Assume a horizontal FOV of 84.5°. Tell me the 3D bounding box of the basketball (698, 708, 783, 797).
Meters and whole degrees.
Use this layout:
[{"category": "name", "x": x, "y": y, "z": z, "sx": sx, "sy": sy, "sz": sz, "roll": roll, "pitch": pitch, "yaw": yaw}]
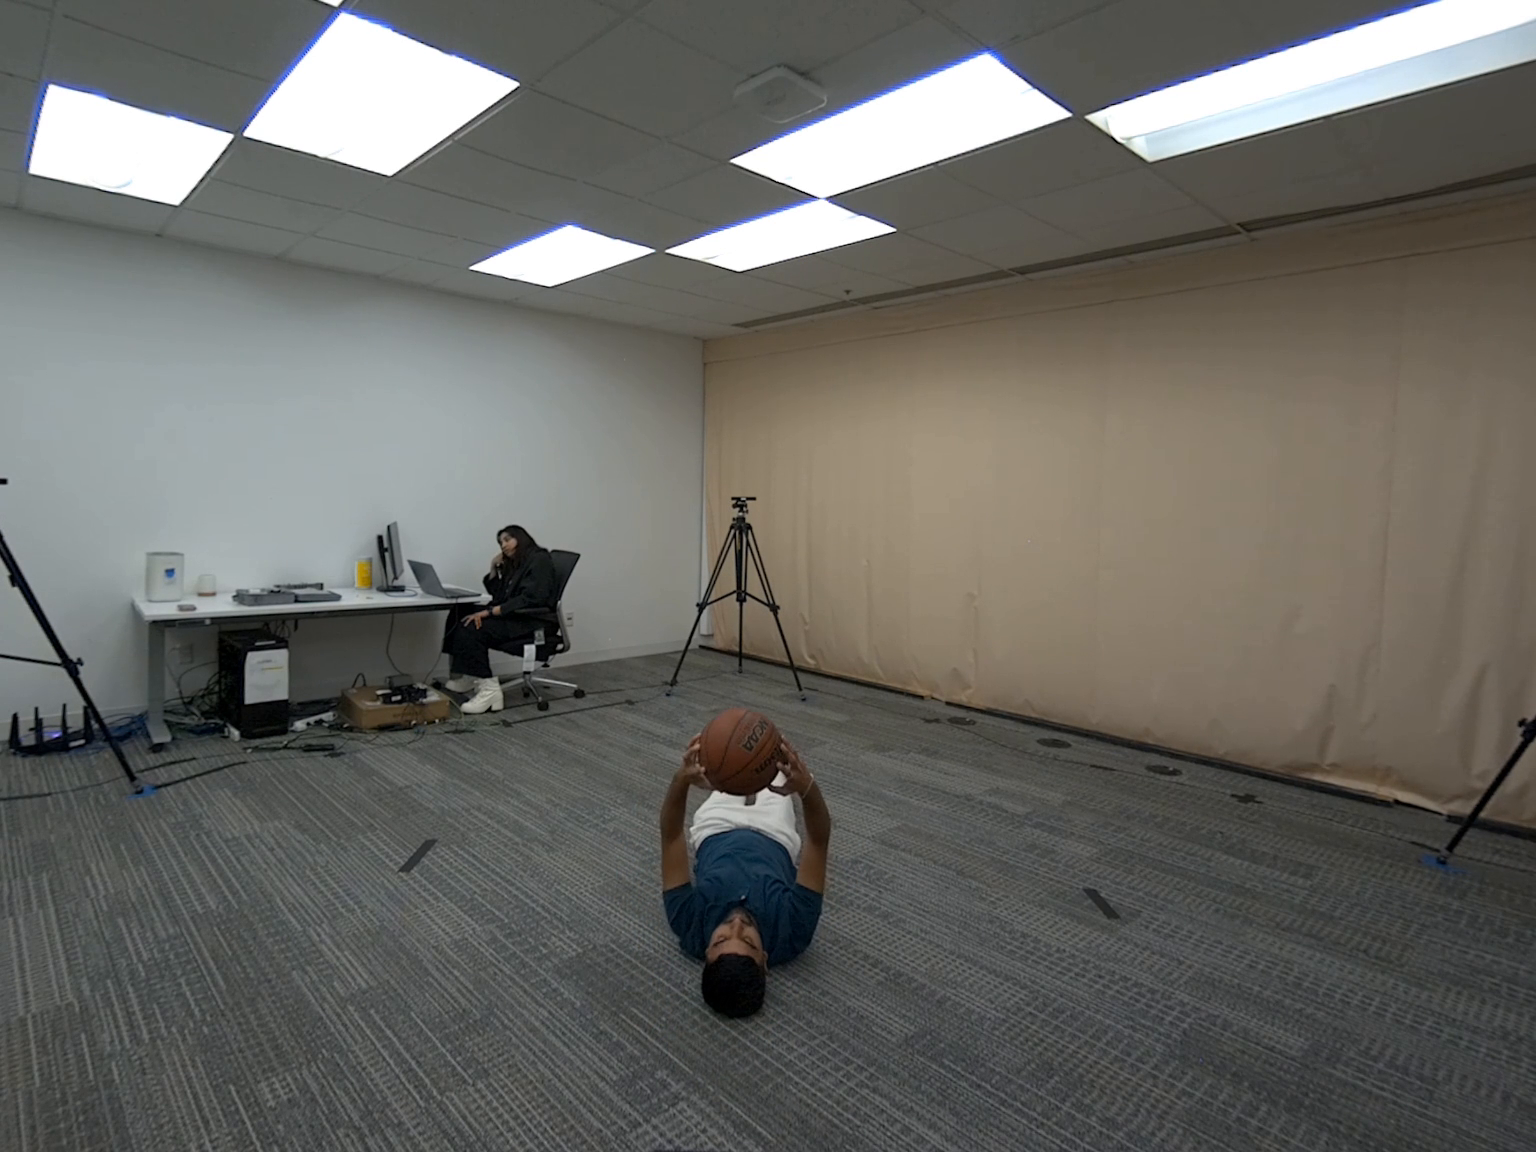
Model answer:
[{"category": "basketball", "x": -0.084, "y": 0.491, "z": 2.326, "sx": 0.236, "sy": 0.235, "sz": 0.237, "roll": 1, "pitch": 4, "yaw": -1}]
